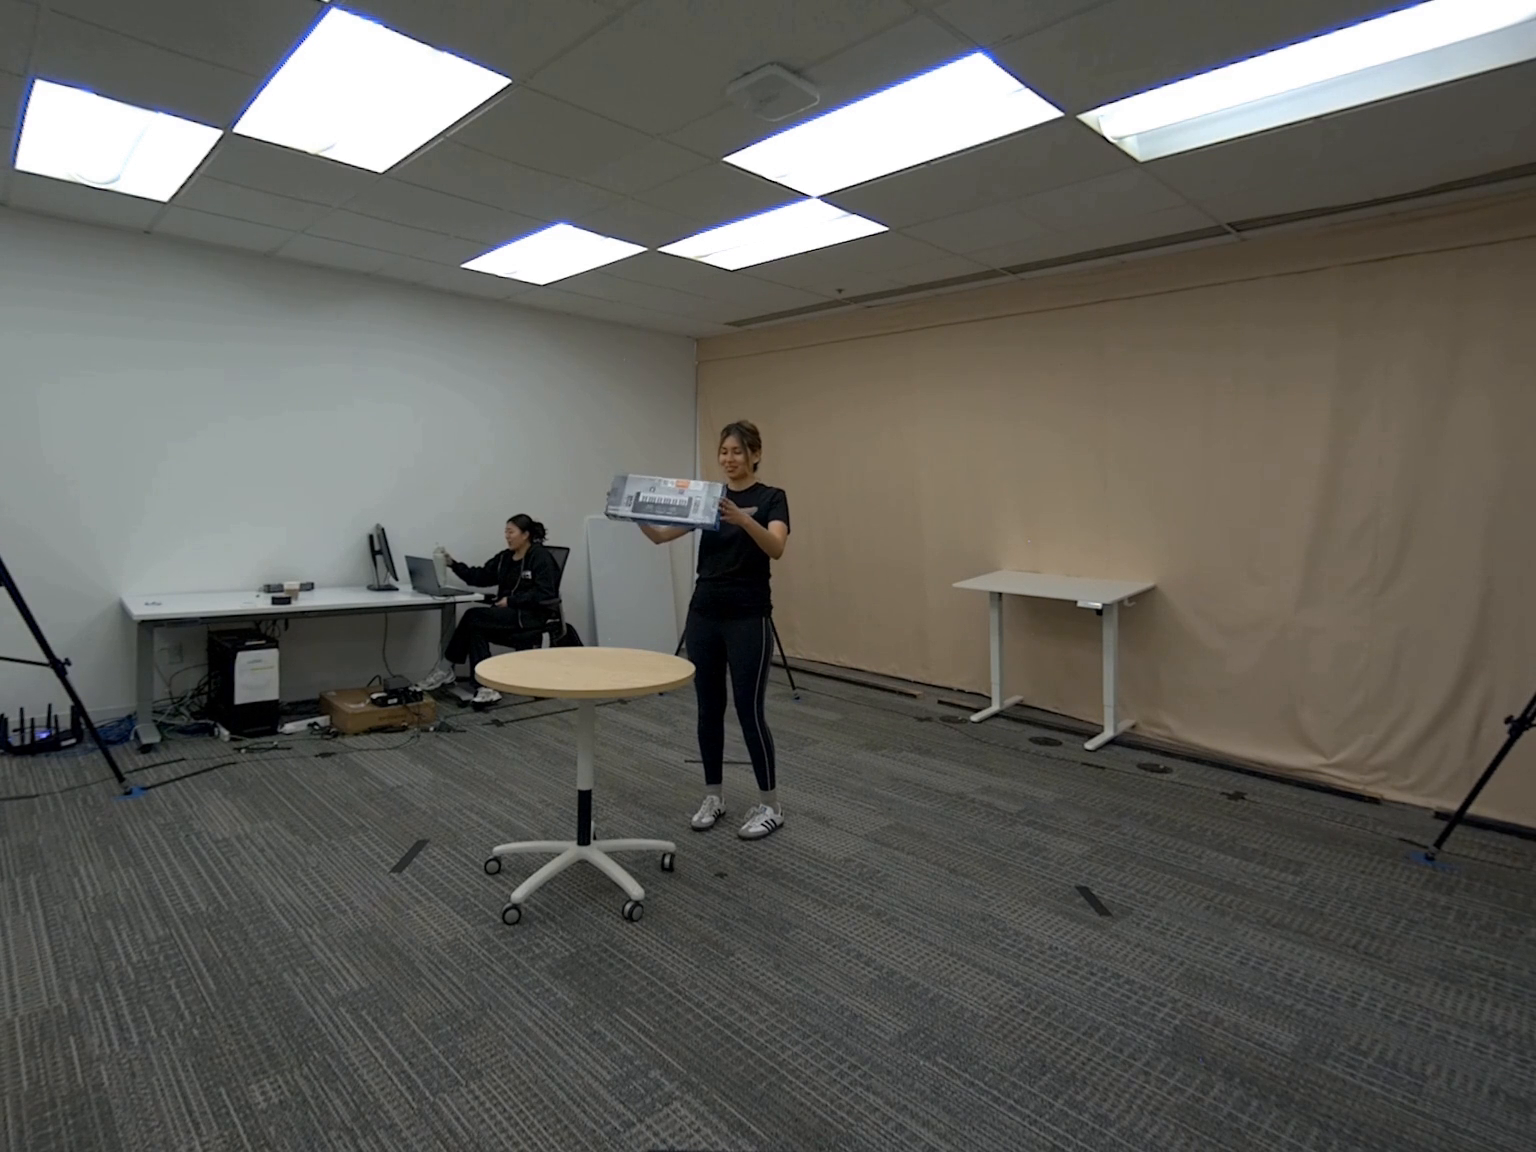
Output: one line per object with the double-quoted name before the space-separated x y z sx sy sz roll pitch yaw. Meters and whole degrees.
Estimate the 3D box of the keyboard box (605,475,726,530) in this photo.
"keyboard box" -0.387 -0.278 3.130 0.443 0.177 0.058 7 -18 16
